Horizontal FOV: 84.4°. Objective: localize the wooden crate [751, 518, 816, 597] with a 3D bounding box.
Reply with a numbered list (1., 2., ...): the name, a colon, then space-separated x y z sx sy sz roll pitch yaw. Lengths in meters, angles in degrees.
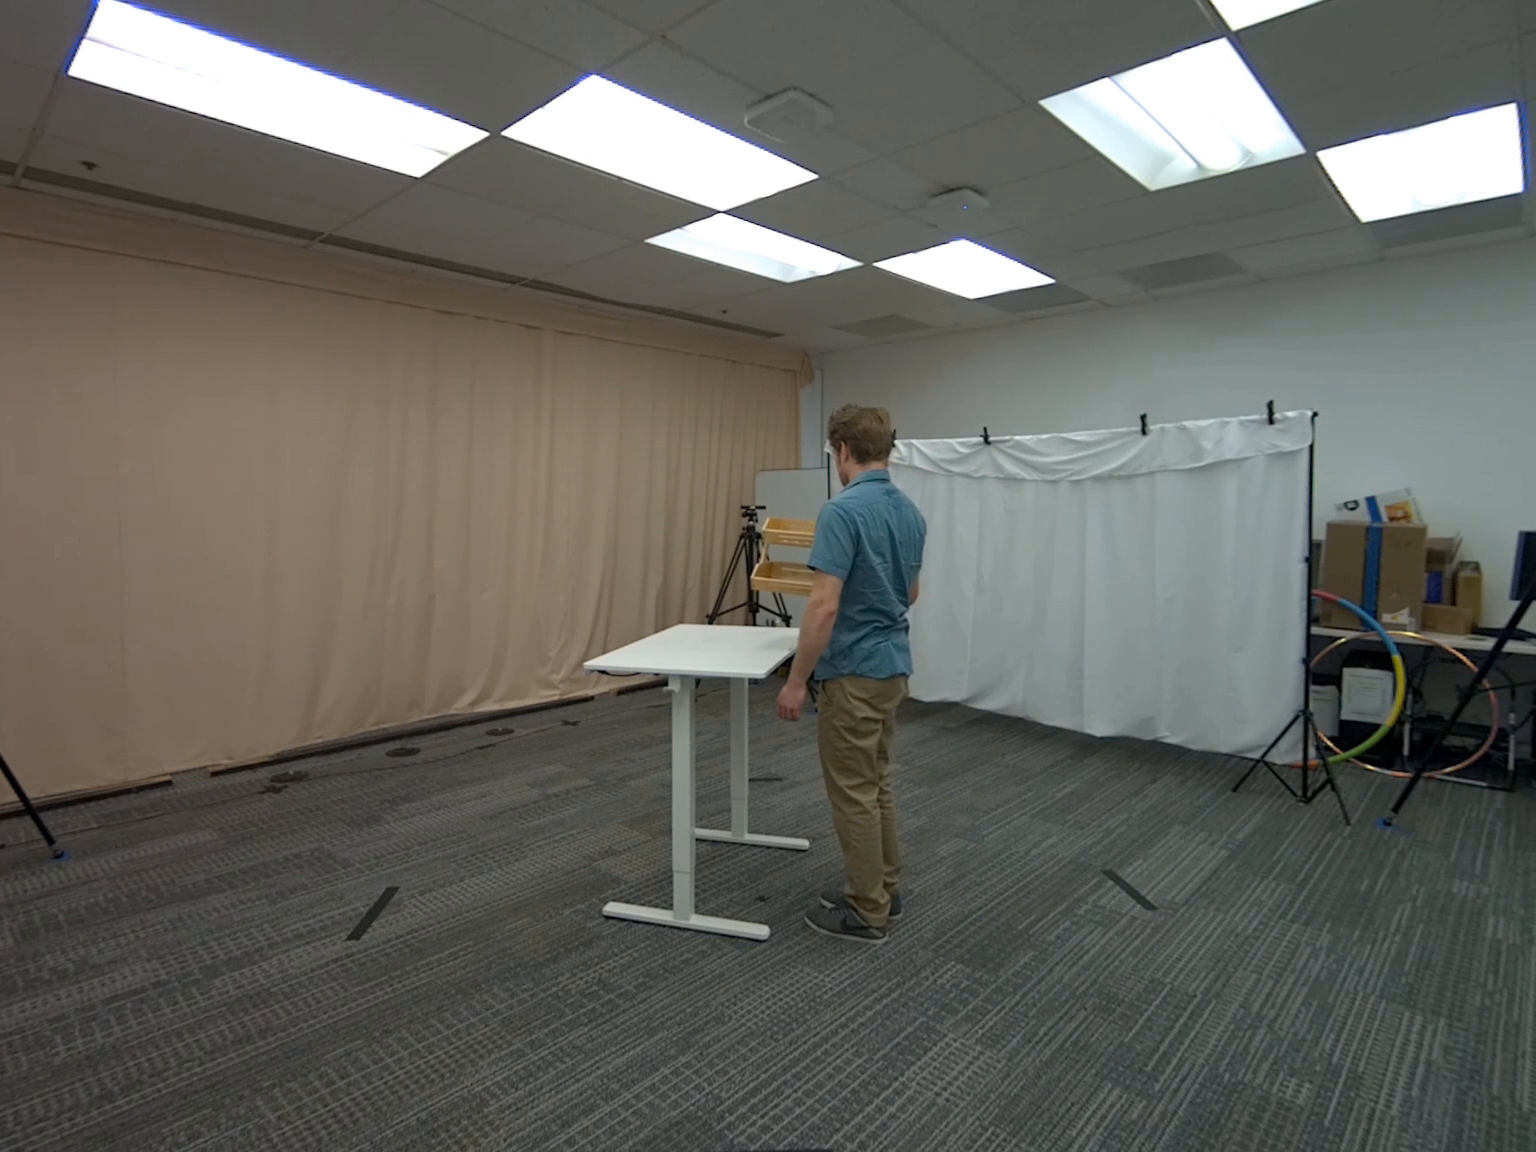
1. wooden crate: 0.132 -0.078 3.142 0.331 0.272 0.296 6 5 18
